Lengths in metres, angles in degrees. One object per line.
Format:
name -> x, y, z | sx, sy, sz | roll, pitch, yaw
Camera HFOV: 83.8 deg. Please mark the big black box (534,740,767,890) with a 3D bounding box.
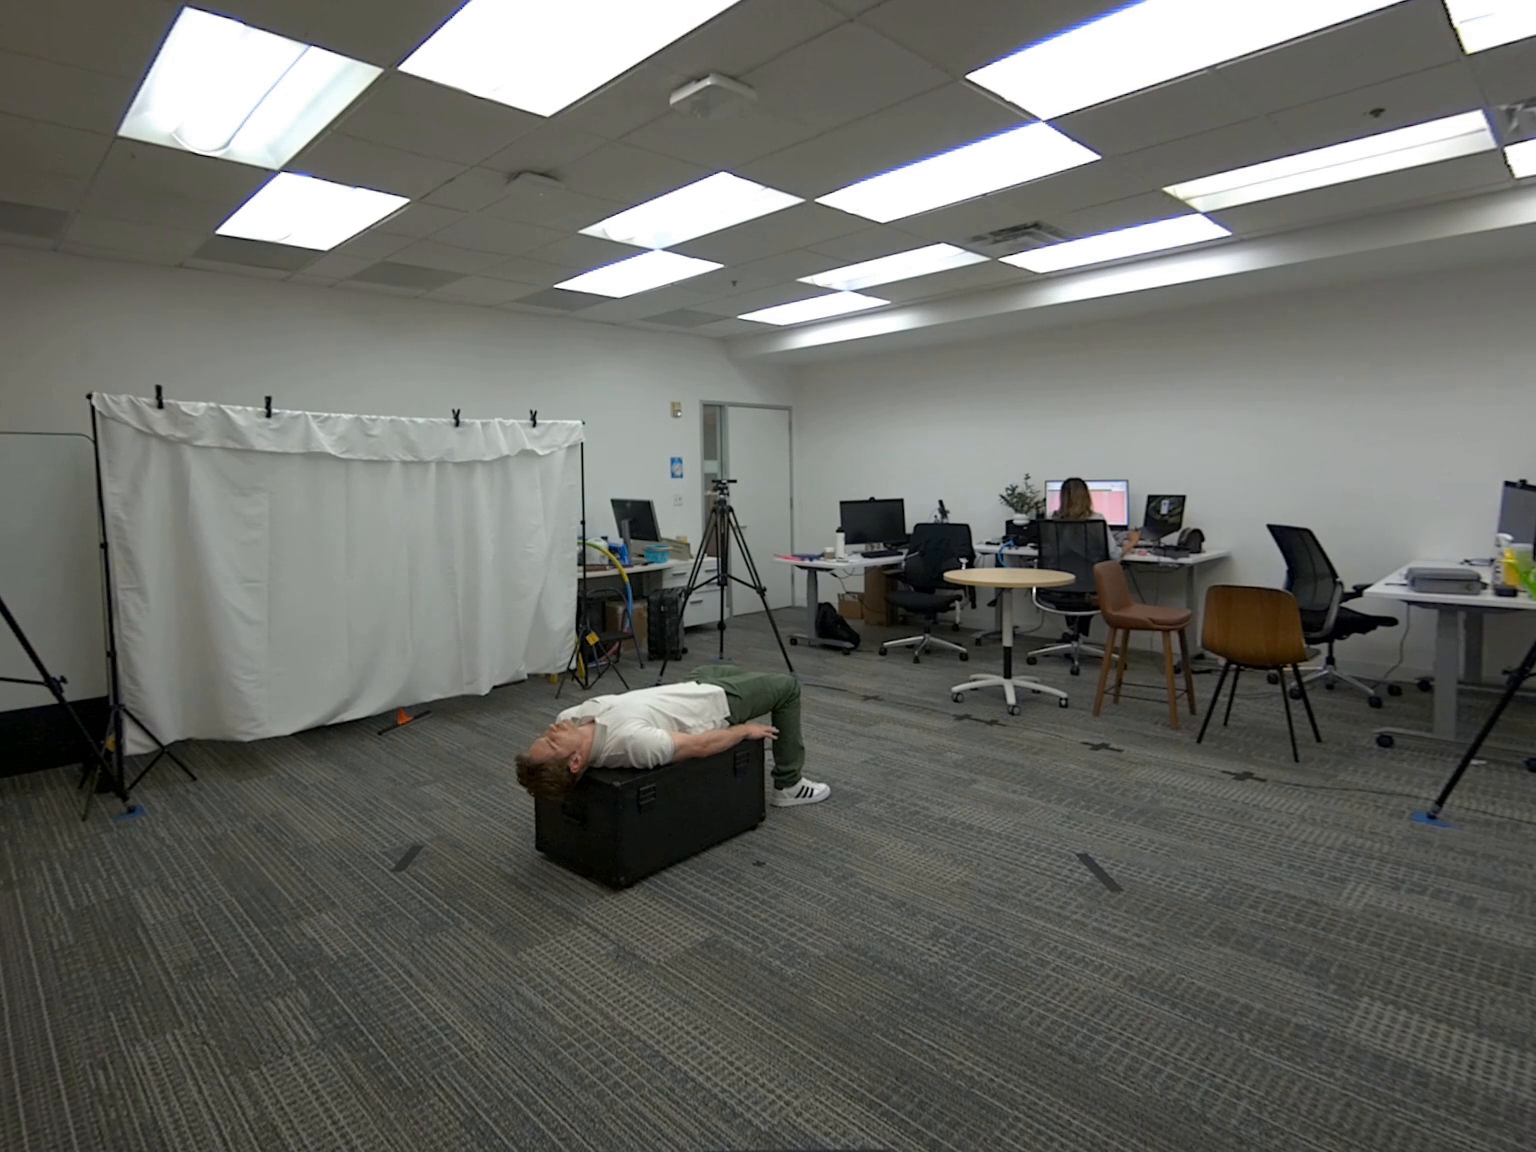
big black box -> -0.414, 0.840, 3.344 | 0.539, 0.384, 0.846 | 3, 6, 41
